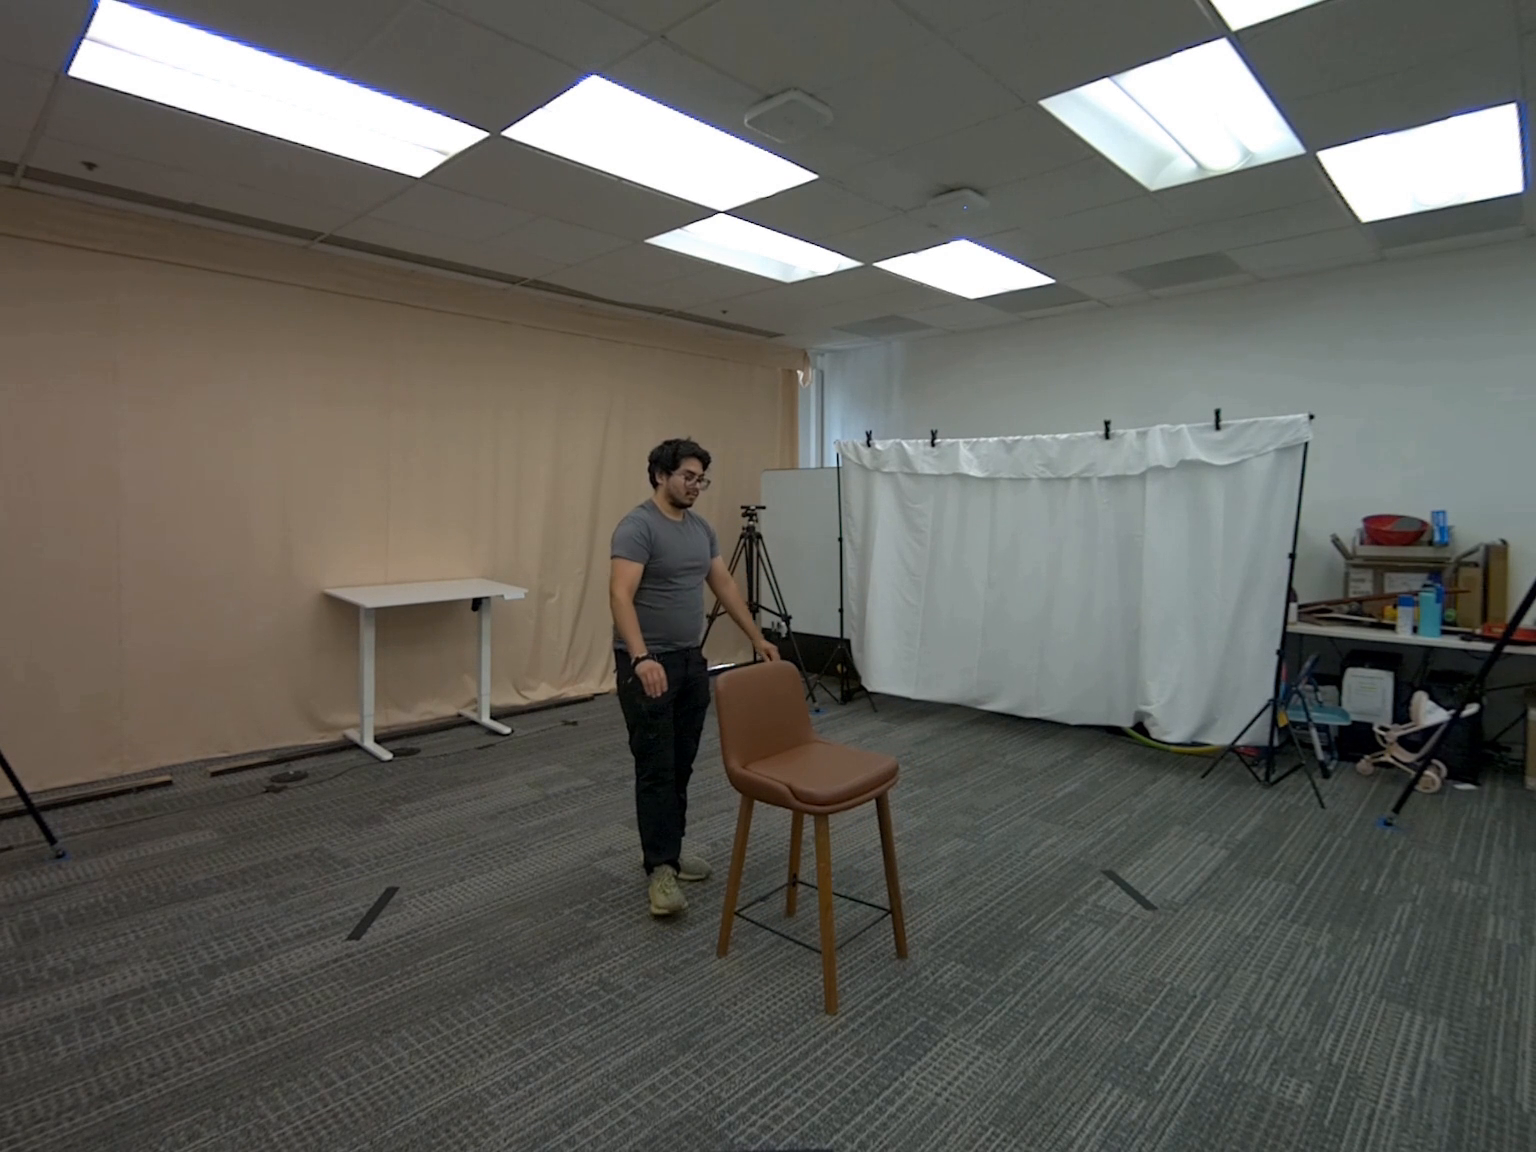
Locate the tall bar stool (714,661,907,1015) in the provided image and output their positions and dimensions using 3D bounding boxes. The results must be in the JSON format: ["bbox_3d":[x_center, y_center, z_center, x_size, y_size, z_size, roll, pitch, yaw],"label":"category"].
[{"bbox_3d":[0.130,0.741,2.579,0.483,0.889,0.442,0,2,41],"label":"tall bar stool"}]
